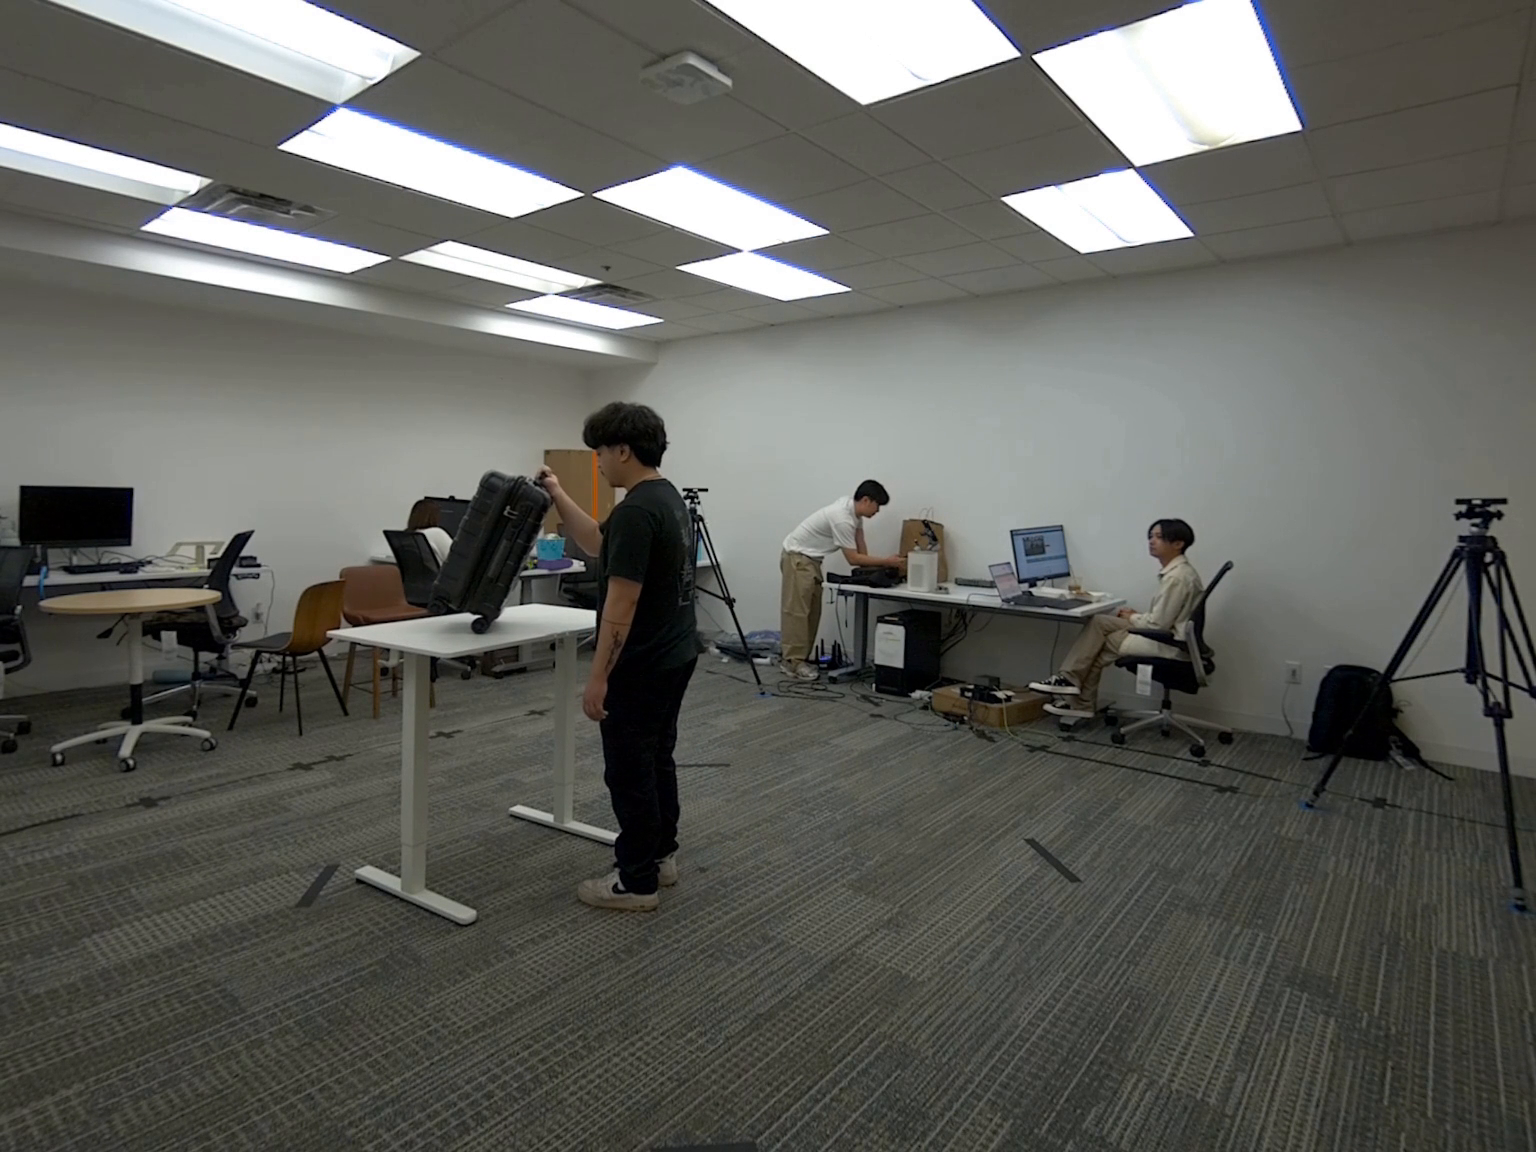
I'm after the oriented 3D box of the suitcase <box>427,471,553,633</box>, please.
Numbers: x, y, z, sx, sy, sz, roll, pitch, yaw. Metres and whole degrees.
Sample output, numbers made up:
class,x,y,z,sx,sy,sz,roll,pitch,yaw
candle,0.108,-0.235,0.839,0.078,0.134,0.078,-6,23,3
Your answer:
class,x,y,z,sx,sy,sz,roll,pitch,yaw
suitcase,-0.989,-0.105,3.038,0.245,0.549,0.380,22,2,-10
